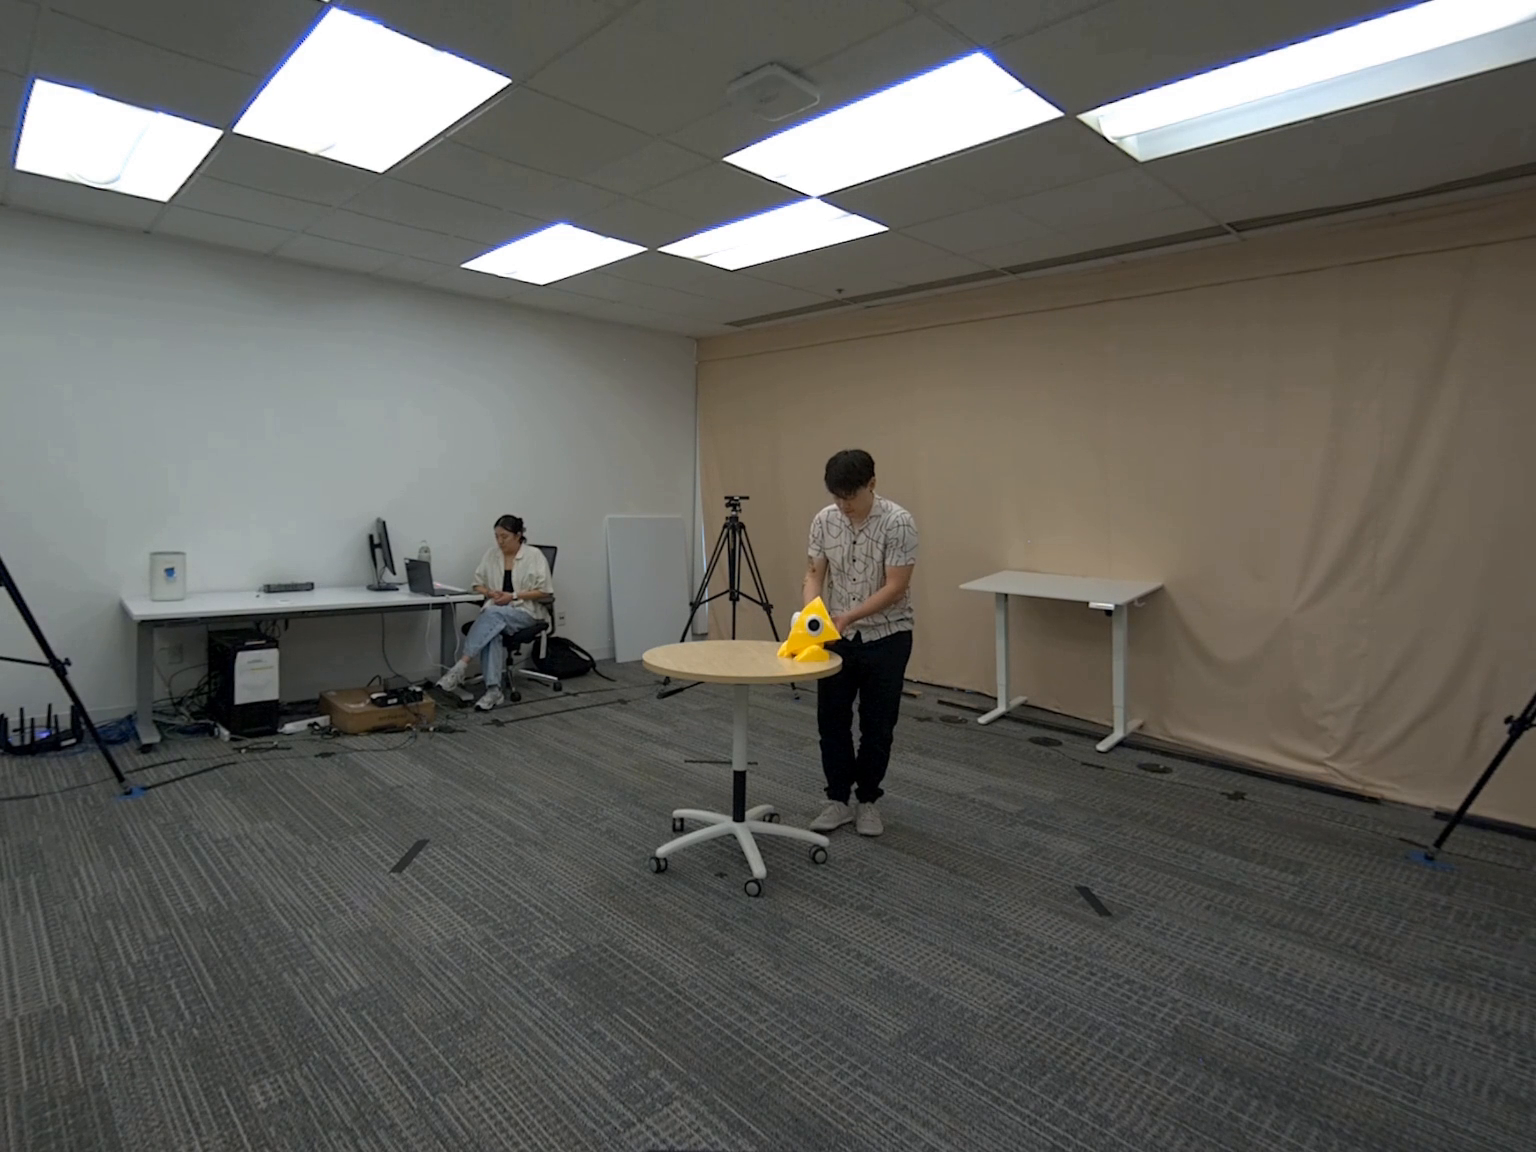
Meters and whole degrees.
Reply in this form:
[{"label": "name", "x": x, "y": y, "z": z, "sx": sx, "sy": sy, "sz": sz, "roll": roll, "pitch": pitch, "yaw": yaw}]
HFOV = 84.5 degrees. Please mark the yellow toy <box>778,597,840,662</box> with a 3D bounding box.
[{"label": "yellow toy", "x": 0.141, "y": 0.200, "z": 3.241, "sx": 0.189, "sy": 0.230, "sz": 0.210, "roll": -2, "pitch": 6, "yaw": -33}]
